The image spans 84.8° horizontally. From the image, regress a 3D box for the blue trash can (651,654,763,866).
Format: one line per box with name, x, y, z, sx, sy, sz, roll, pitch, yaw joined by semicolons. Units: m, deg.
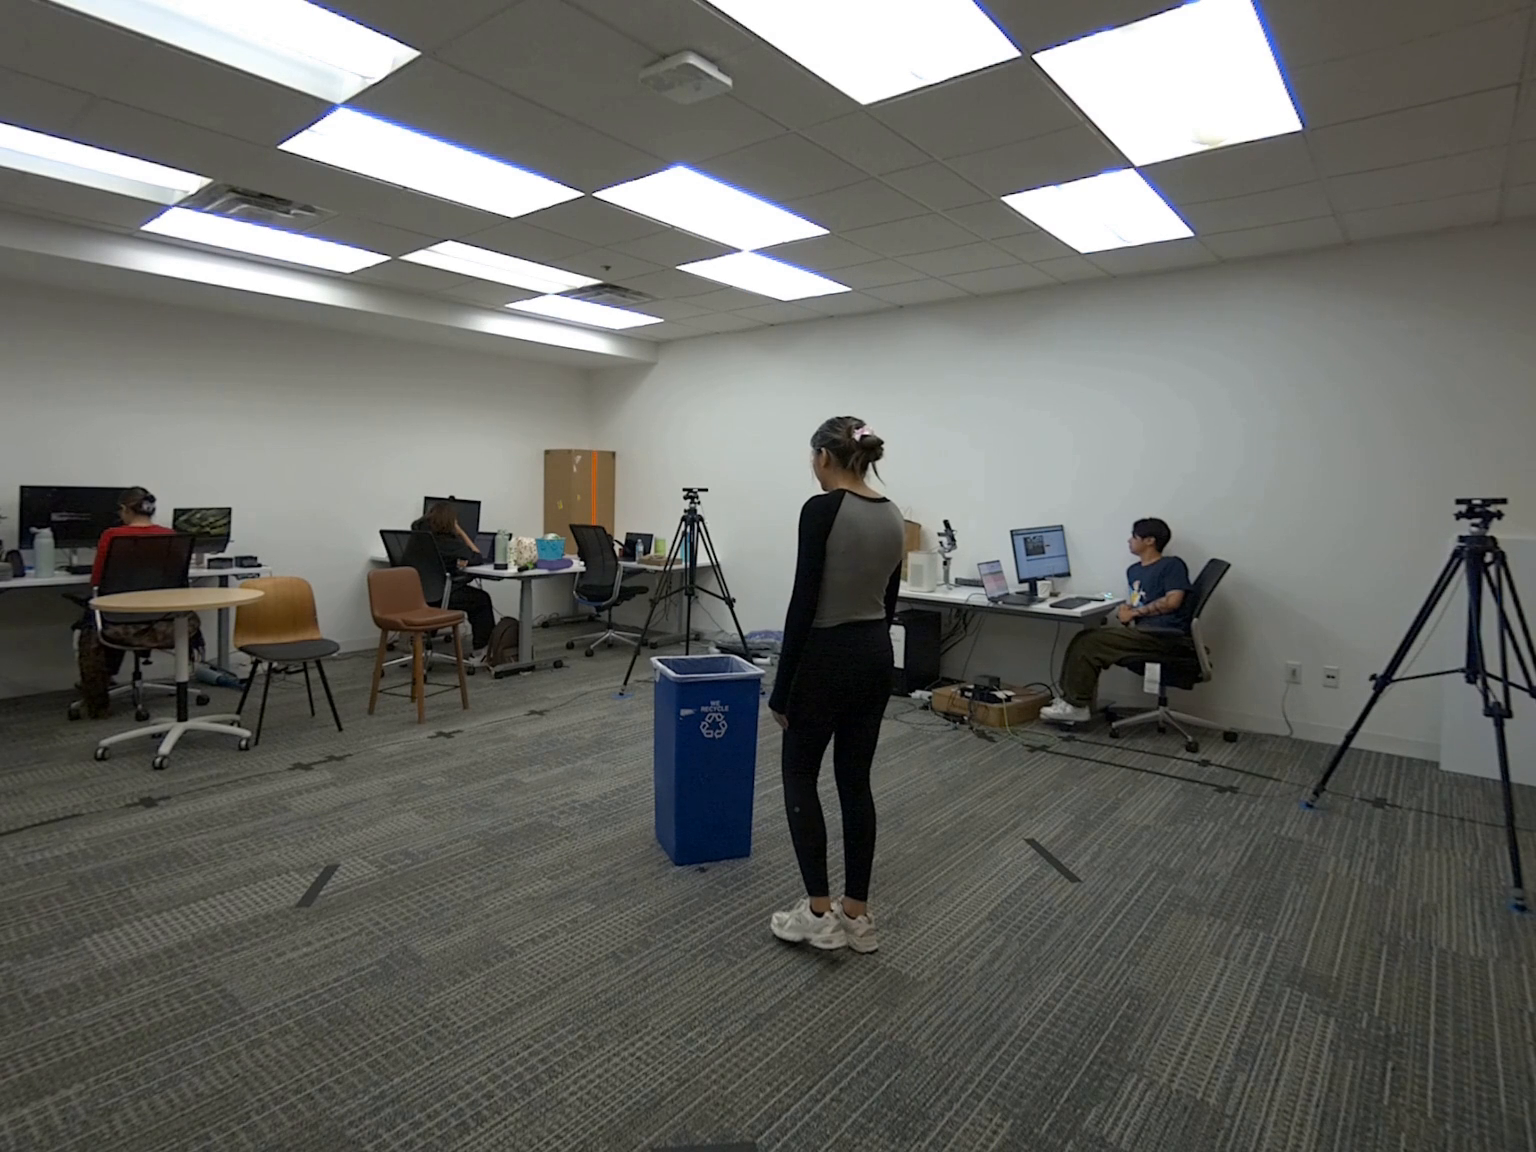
blue trash can;-0.256;0.692;3.303;0.366;0.711;0.387;0;4;-21
